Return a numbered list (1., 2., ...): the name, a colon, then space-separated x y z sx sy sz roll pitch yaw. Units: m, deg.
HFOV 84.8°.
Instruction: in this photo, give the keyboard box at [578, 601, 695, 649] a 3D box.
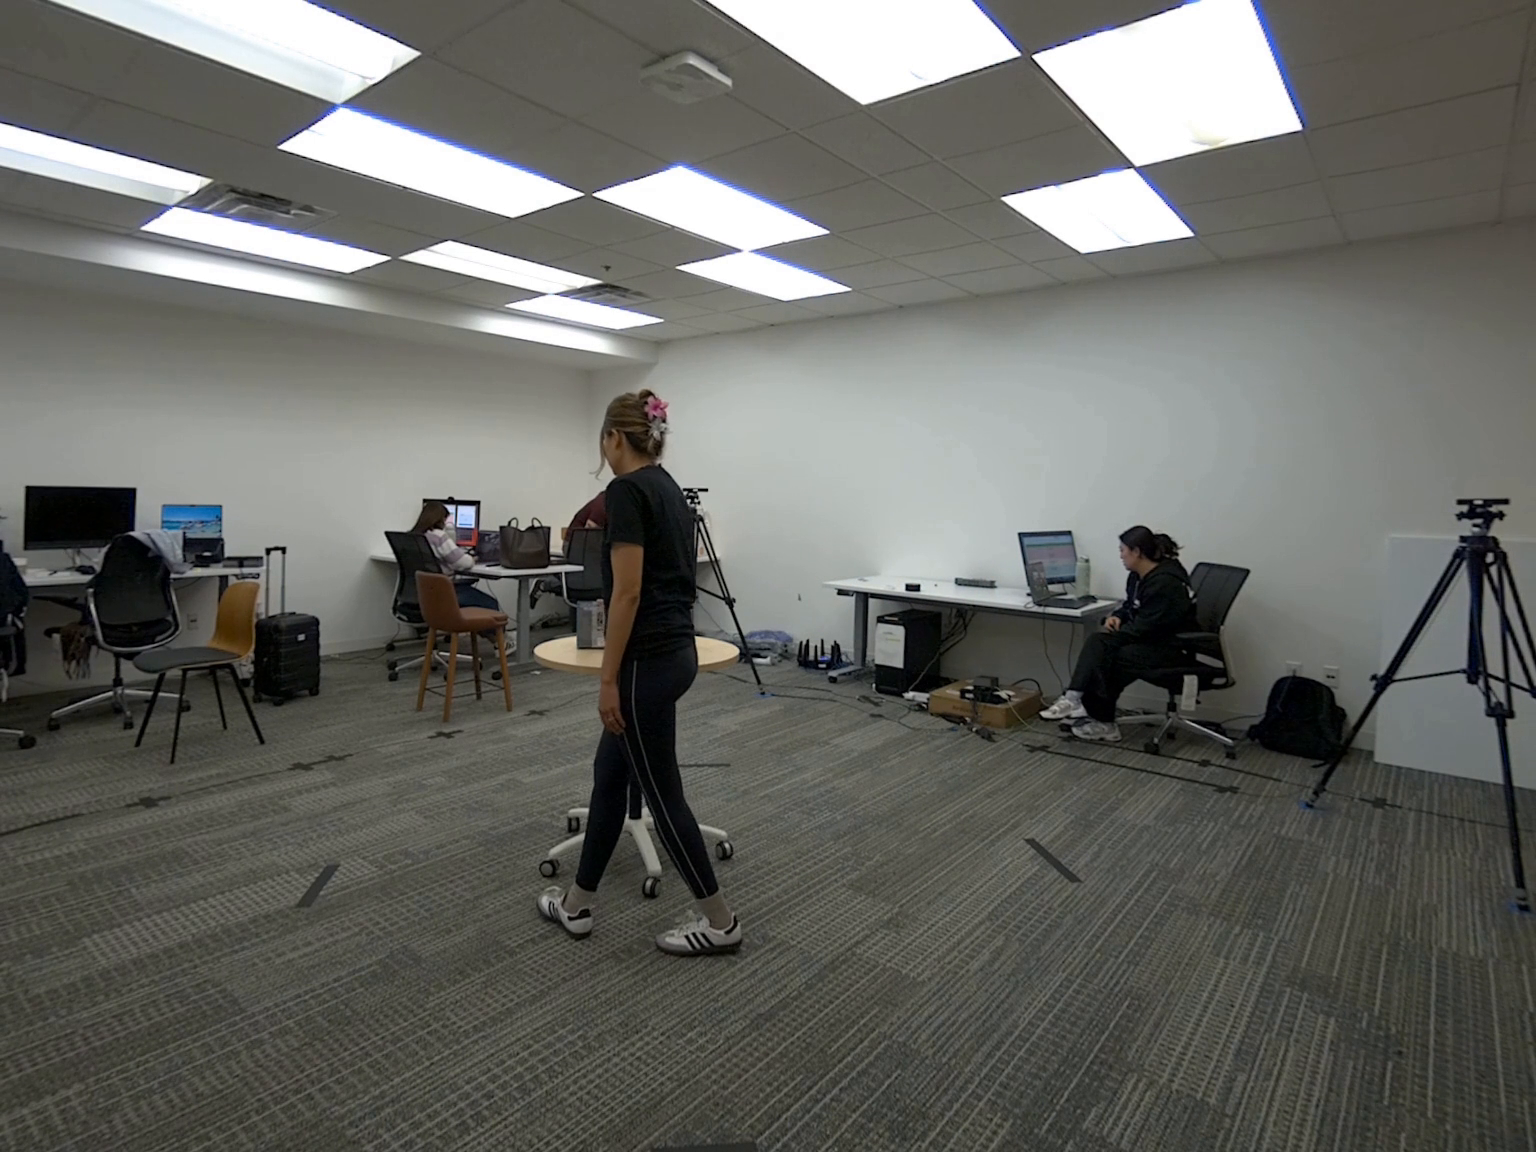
1. keyboard box: -0.505 0.180 3.215 0.434 0.176 0.059 -1 -4 -5
